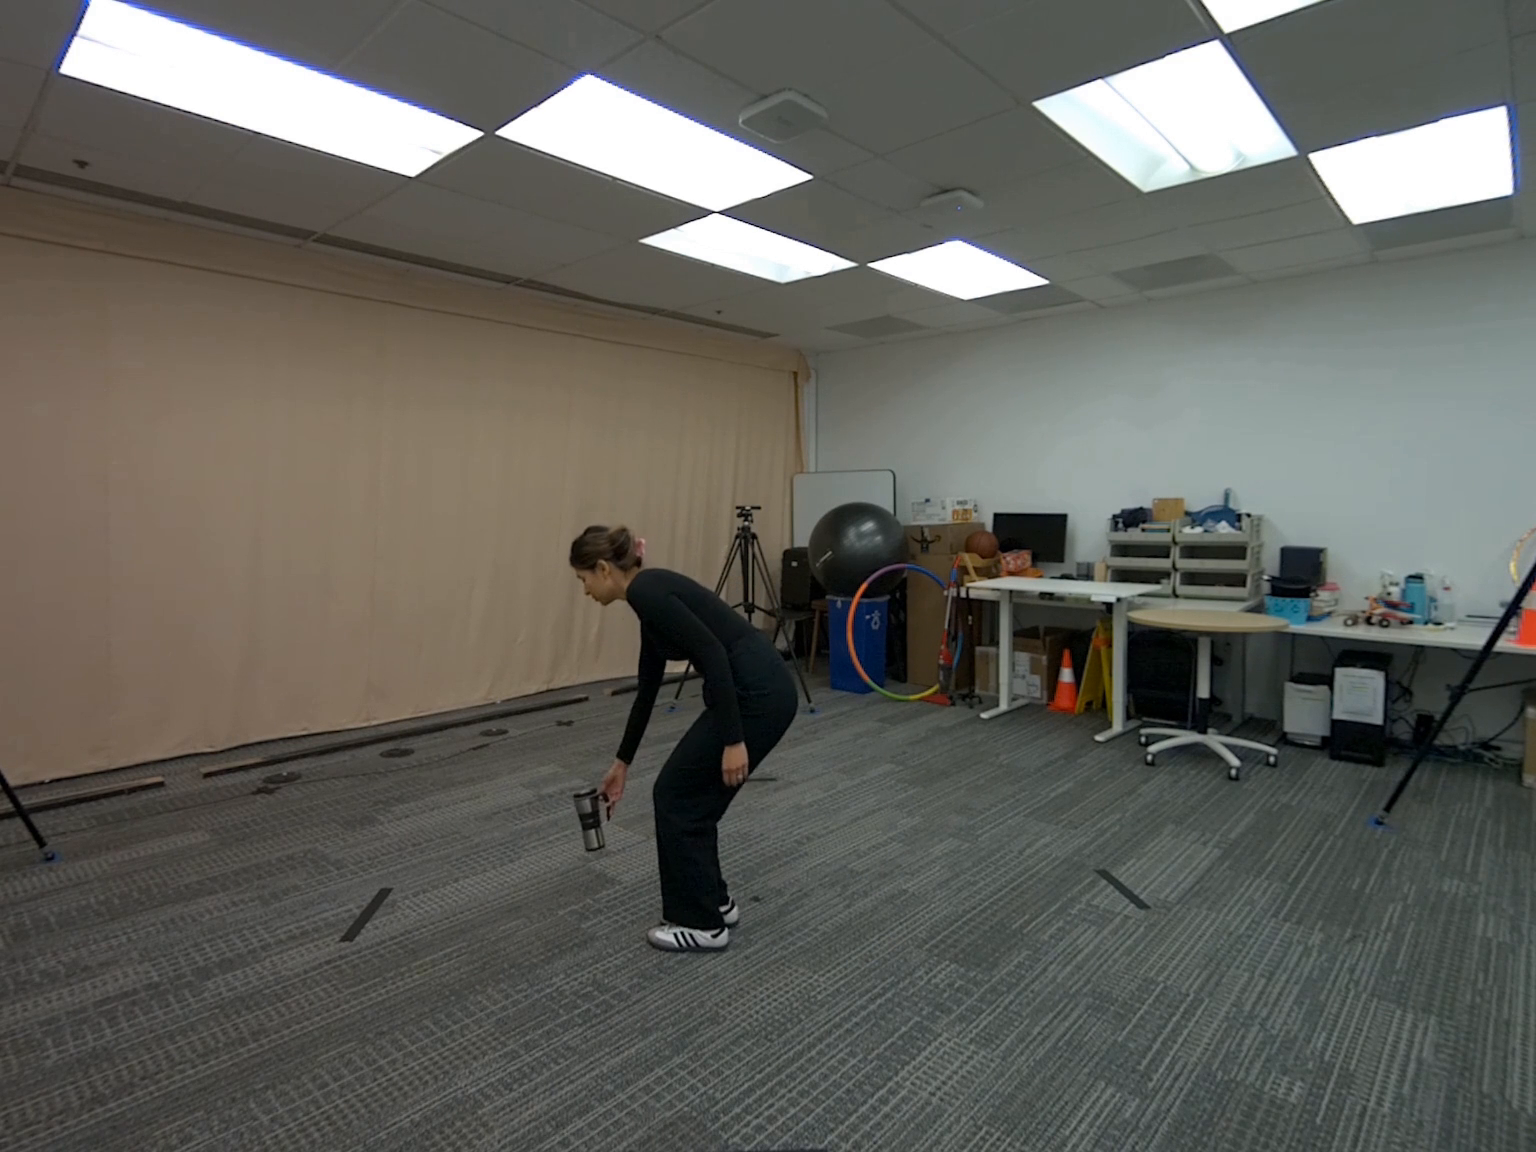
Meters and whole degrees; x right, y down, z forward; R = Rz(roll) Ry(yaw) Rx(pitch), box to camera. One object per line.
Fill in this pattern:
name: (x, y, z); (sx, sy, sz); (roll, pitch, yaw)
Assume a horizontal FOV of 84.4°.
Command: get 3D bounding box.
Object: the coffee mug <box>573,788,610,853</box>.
coffee mug: (-0.599, 0.855, 2.926); (0.085, 0.204, 0.125); (-4, -10, -46)
